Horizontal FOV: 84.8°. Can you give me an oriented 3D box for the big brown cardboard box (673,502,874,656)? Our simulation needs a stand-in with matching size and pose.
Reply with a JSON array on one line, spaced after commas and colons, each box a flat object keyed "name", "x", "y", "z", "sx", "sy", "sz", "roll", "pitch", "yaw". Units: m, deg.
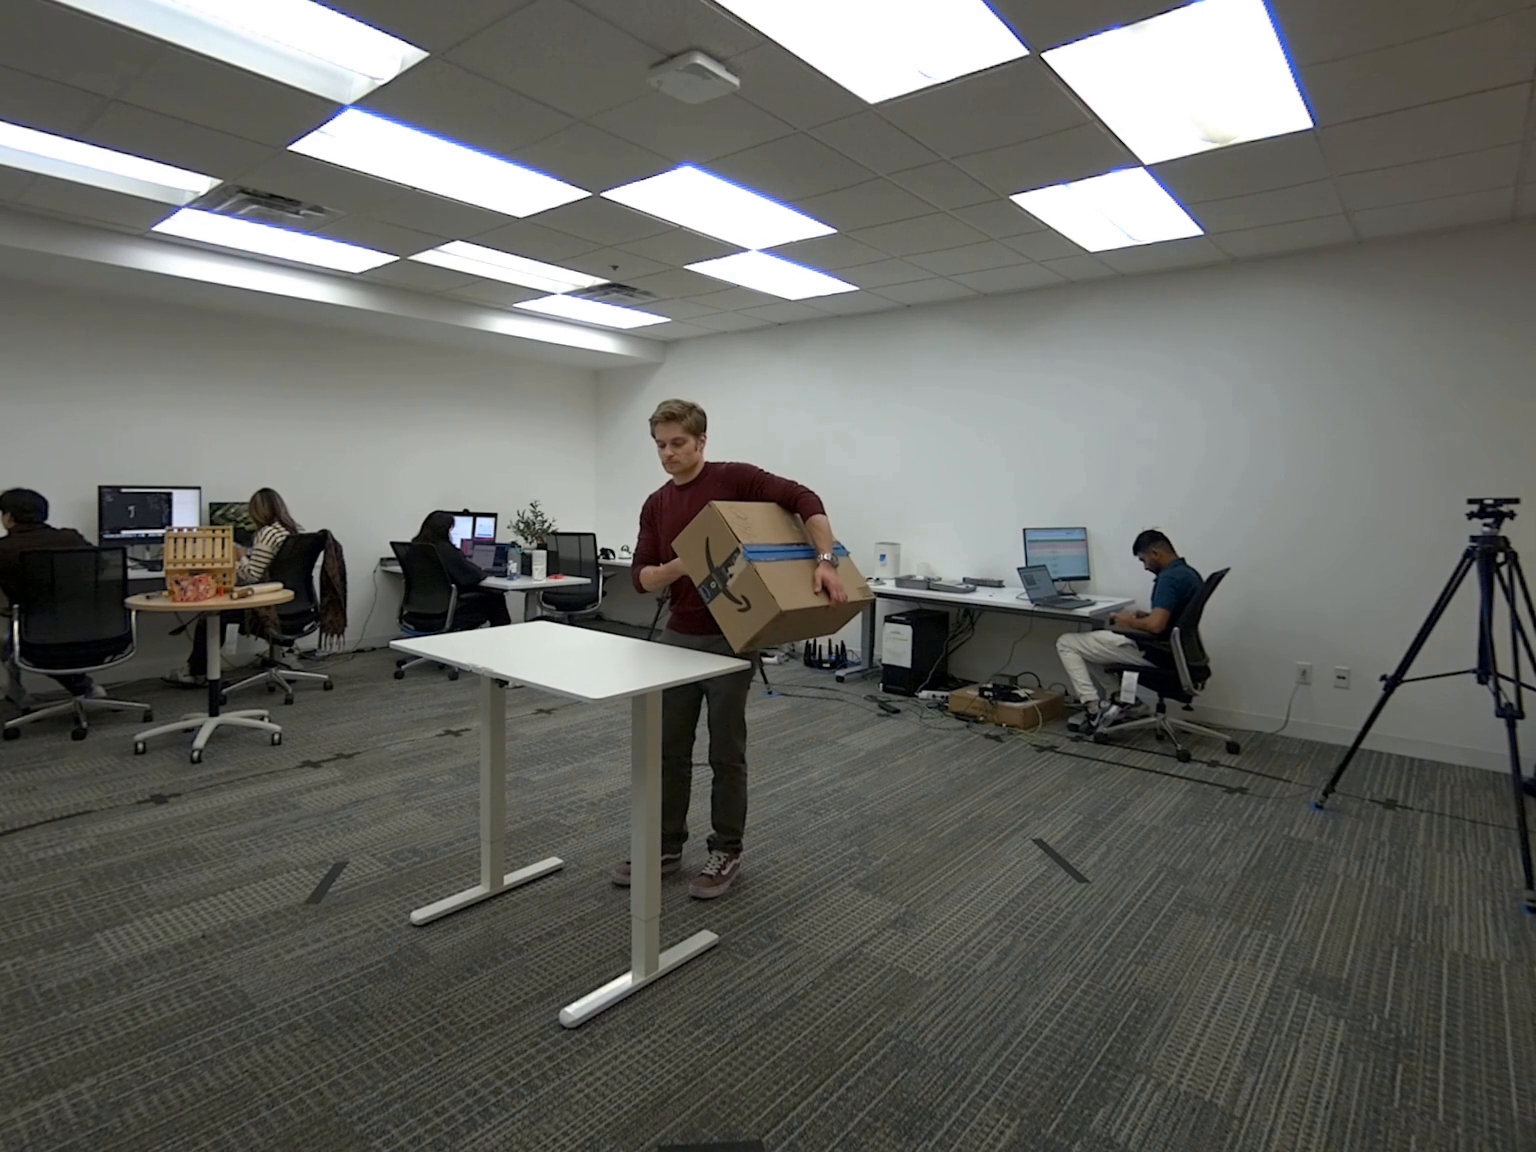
[{"name": "big brown cardboard box", "x": 0.017, "y": -0.016, "z": 2.759, "sx": 0.572, "sy": 0.430, "sz": 0.233, "roll": -4, "pitch": -36, "yaw": -52}]
